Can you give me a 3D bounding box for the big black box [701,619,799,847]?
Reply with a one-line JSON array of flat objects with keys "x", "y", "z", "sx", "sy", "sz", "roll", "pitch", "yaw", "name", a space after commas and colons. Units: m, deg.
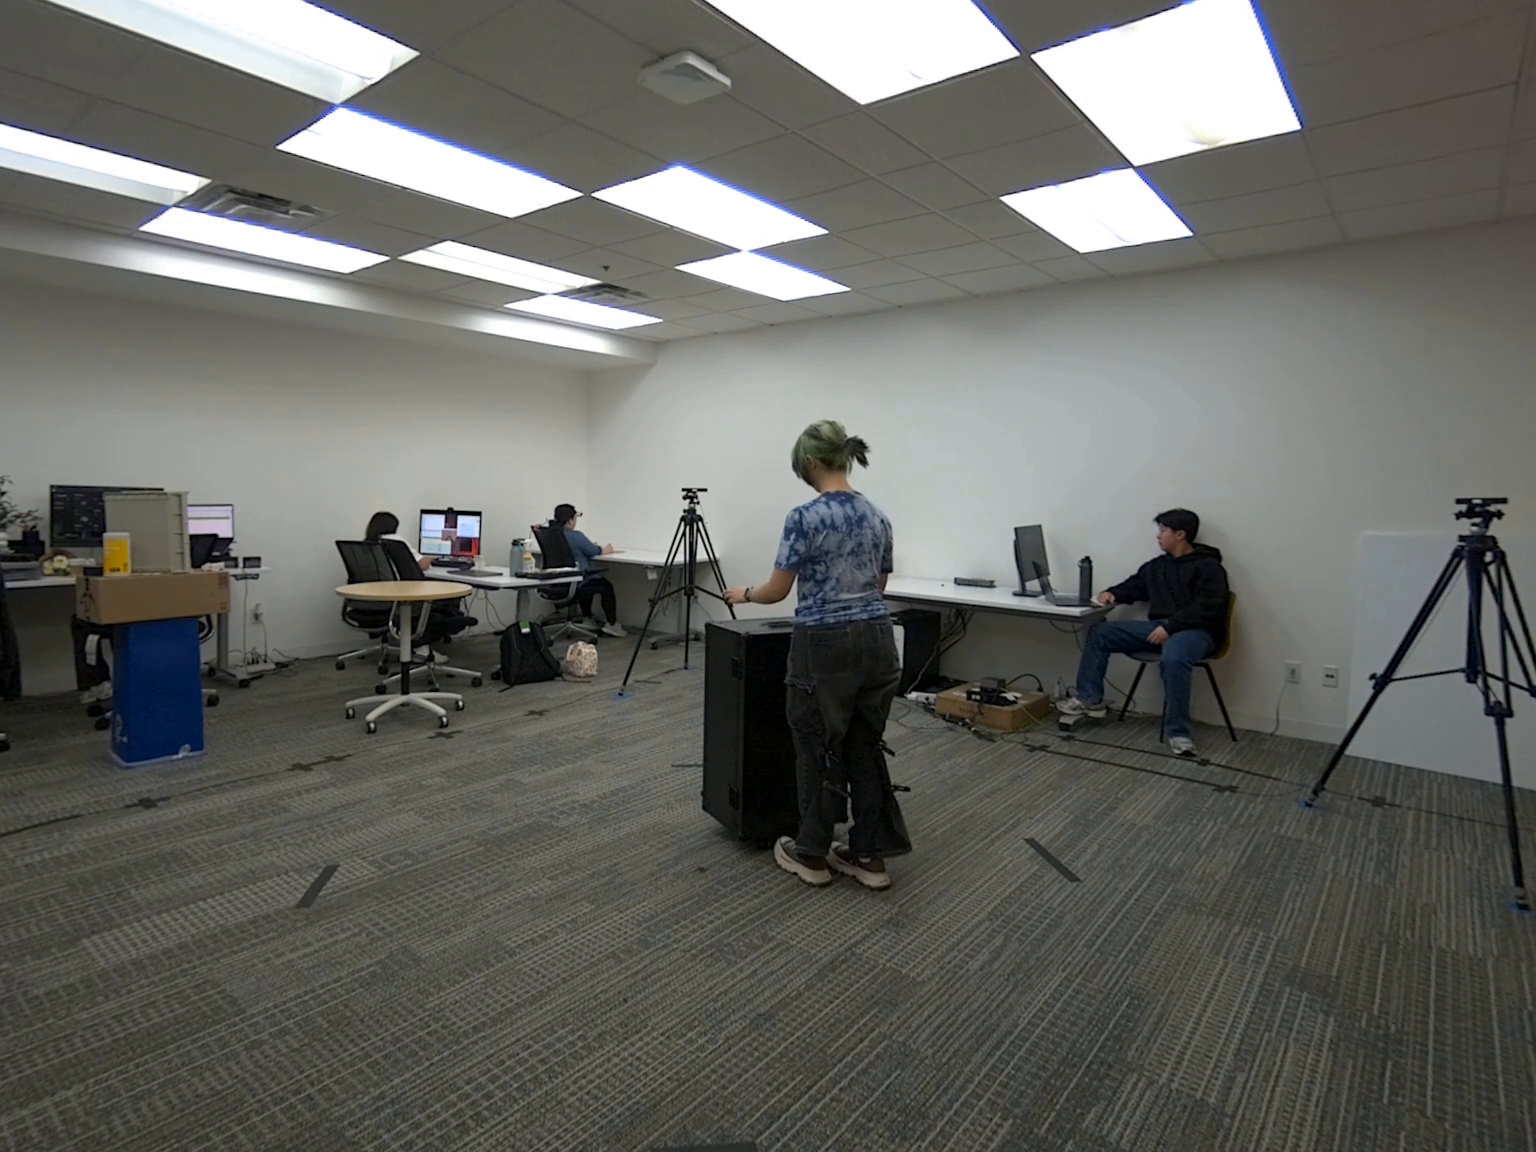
[{"x": 0.018, "y": 0.554, "z": 3.446, "sx": 0.508, "sy": 0.859, "sz": 0.407, "roll": -1, "pitch": 4, "yaw": -27, "name": "big black box"}]
